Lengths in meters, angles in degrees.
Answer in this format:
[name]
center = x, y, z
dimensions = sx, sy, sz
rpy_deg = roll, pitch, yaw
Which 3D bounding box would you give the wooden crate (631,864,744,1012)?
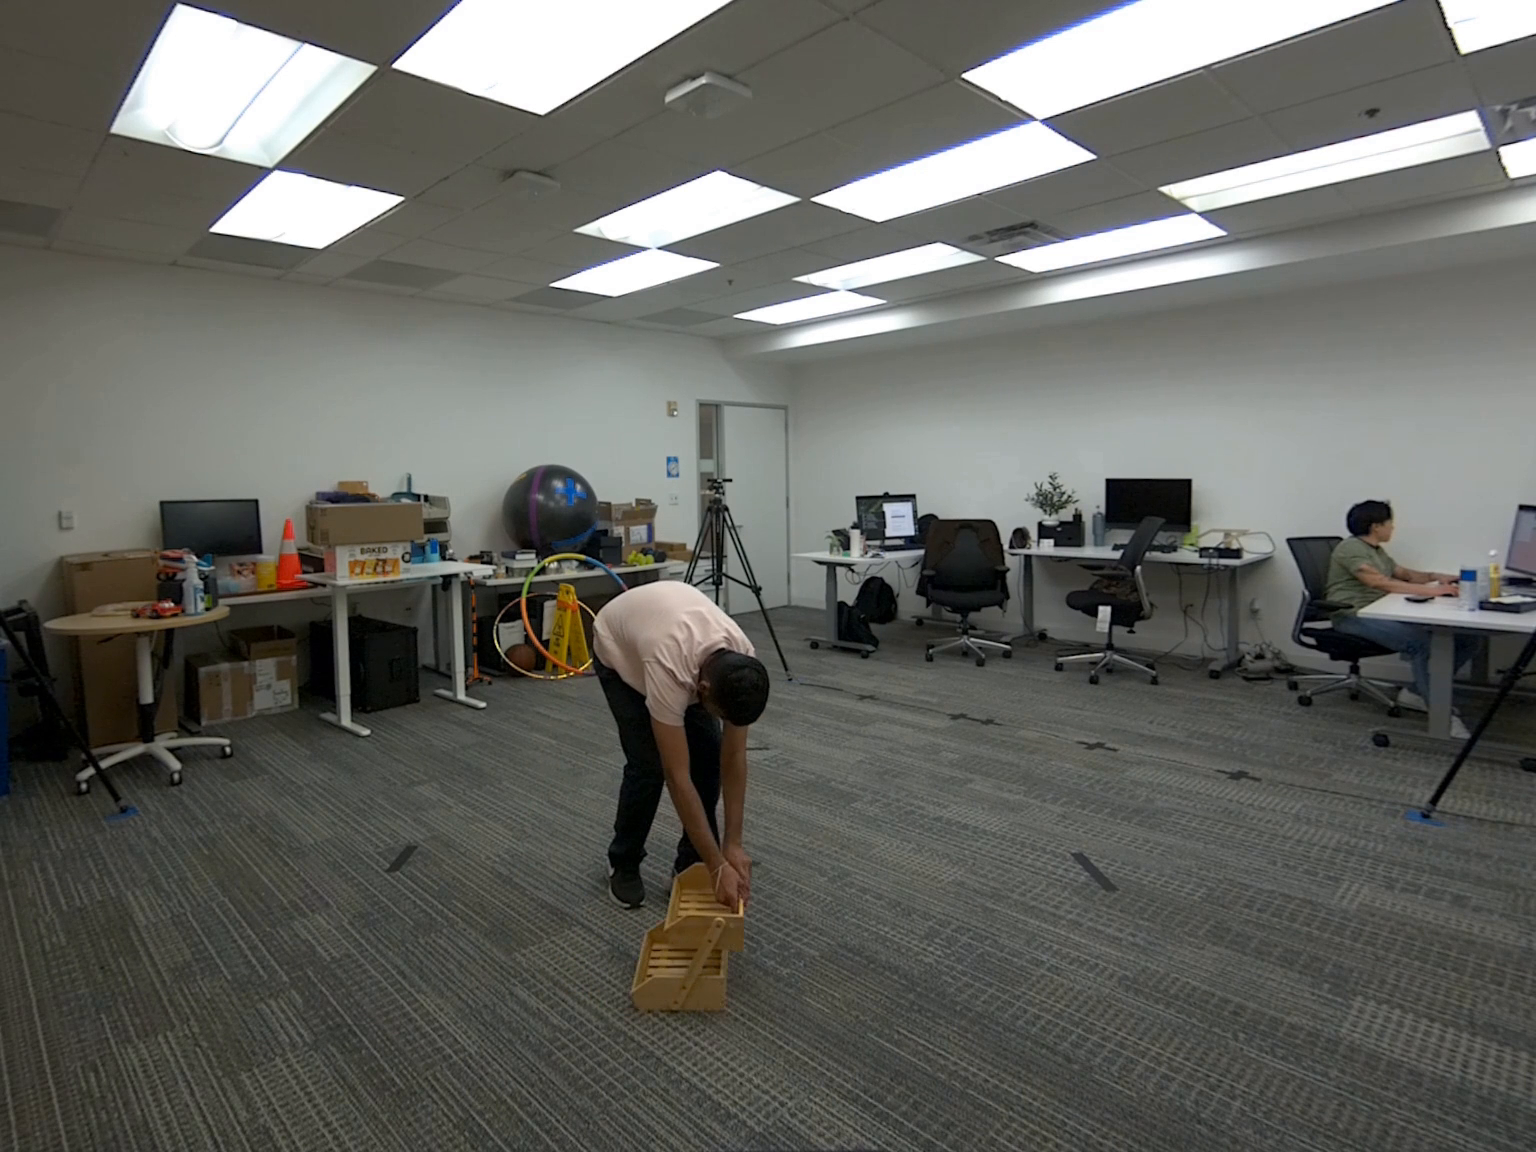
[wooden crate]
center = -0.217, 1.002, 2.393
dimensions = 0.302, 0.272, 0.326
rpy_deg = 0, 6, -1
